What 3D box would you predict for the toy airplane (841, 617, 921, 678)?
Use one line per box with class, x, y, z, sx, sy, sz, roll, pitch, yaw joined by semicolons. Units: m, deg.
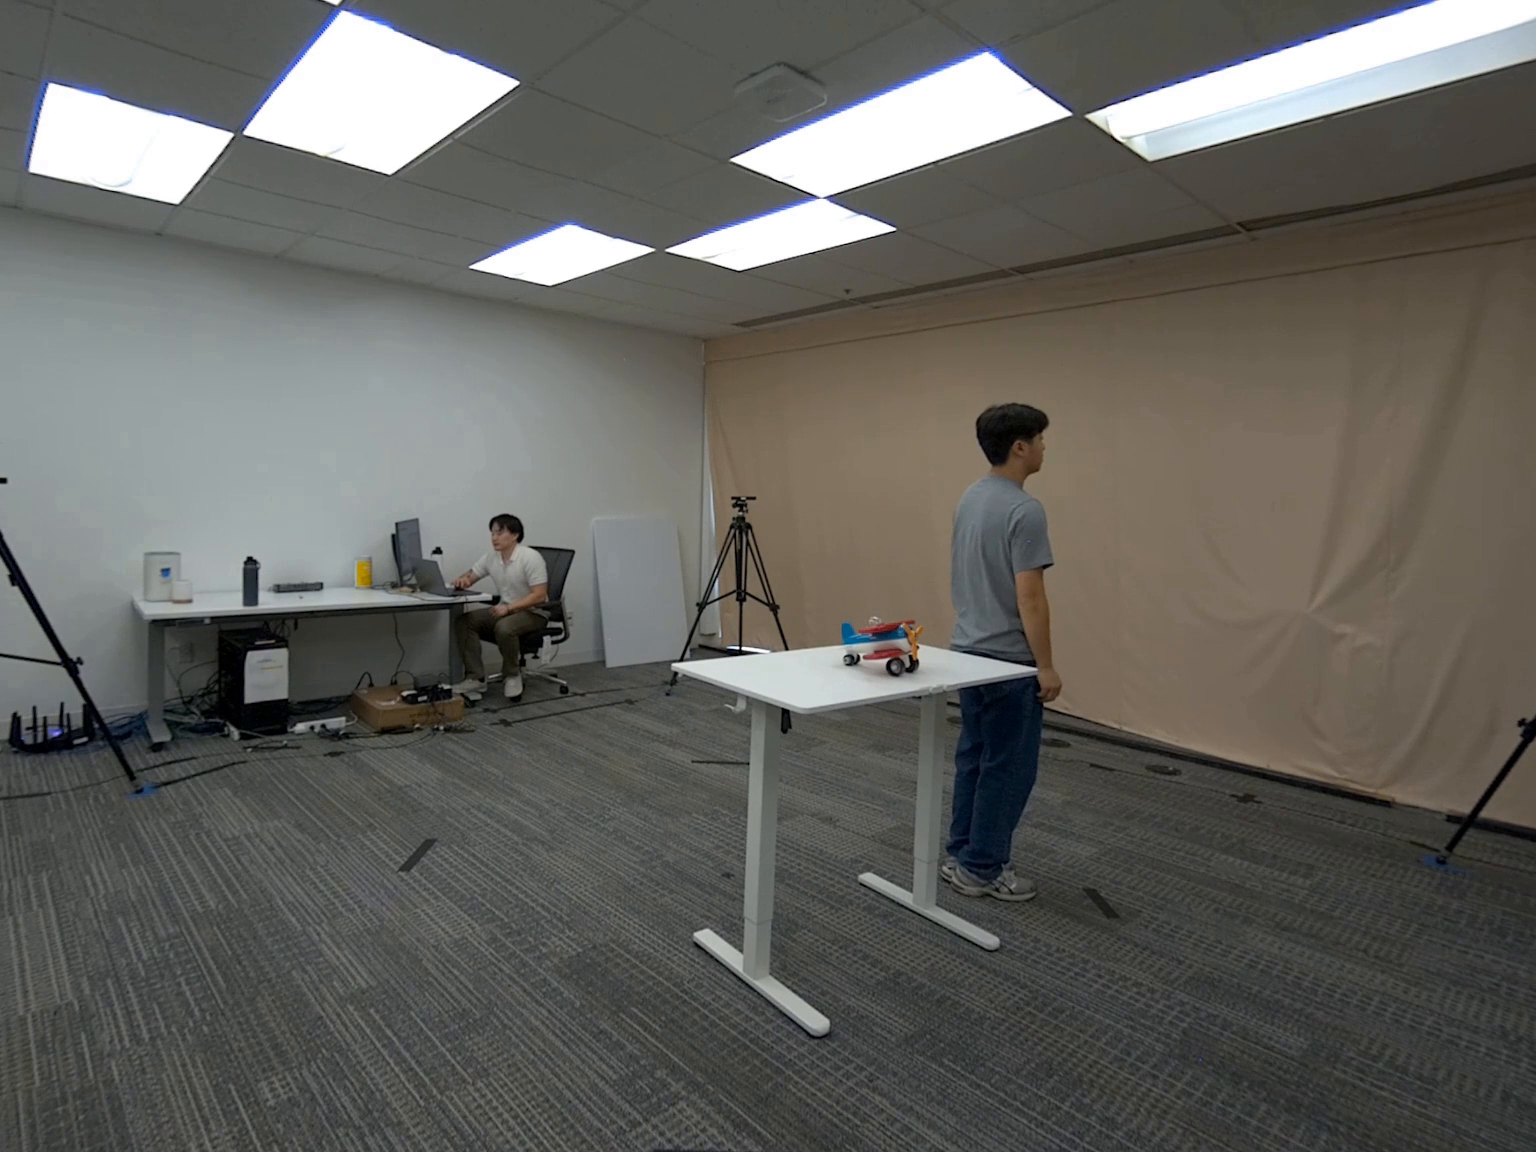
toy airplane;0.324;0.211;2.537;0.262;0.156;0.249;4;4;11
